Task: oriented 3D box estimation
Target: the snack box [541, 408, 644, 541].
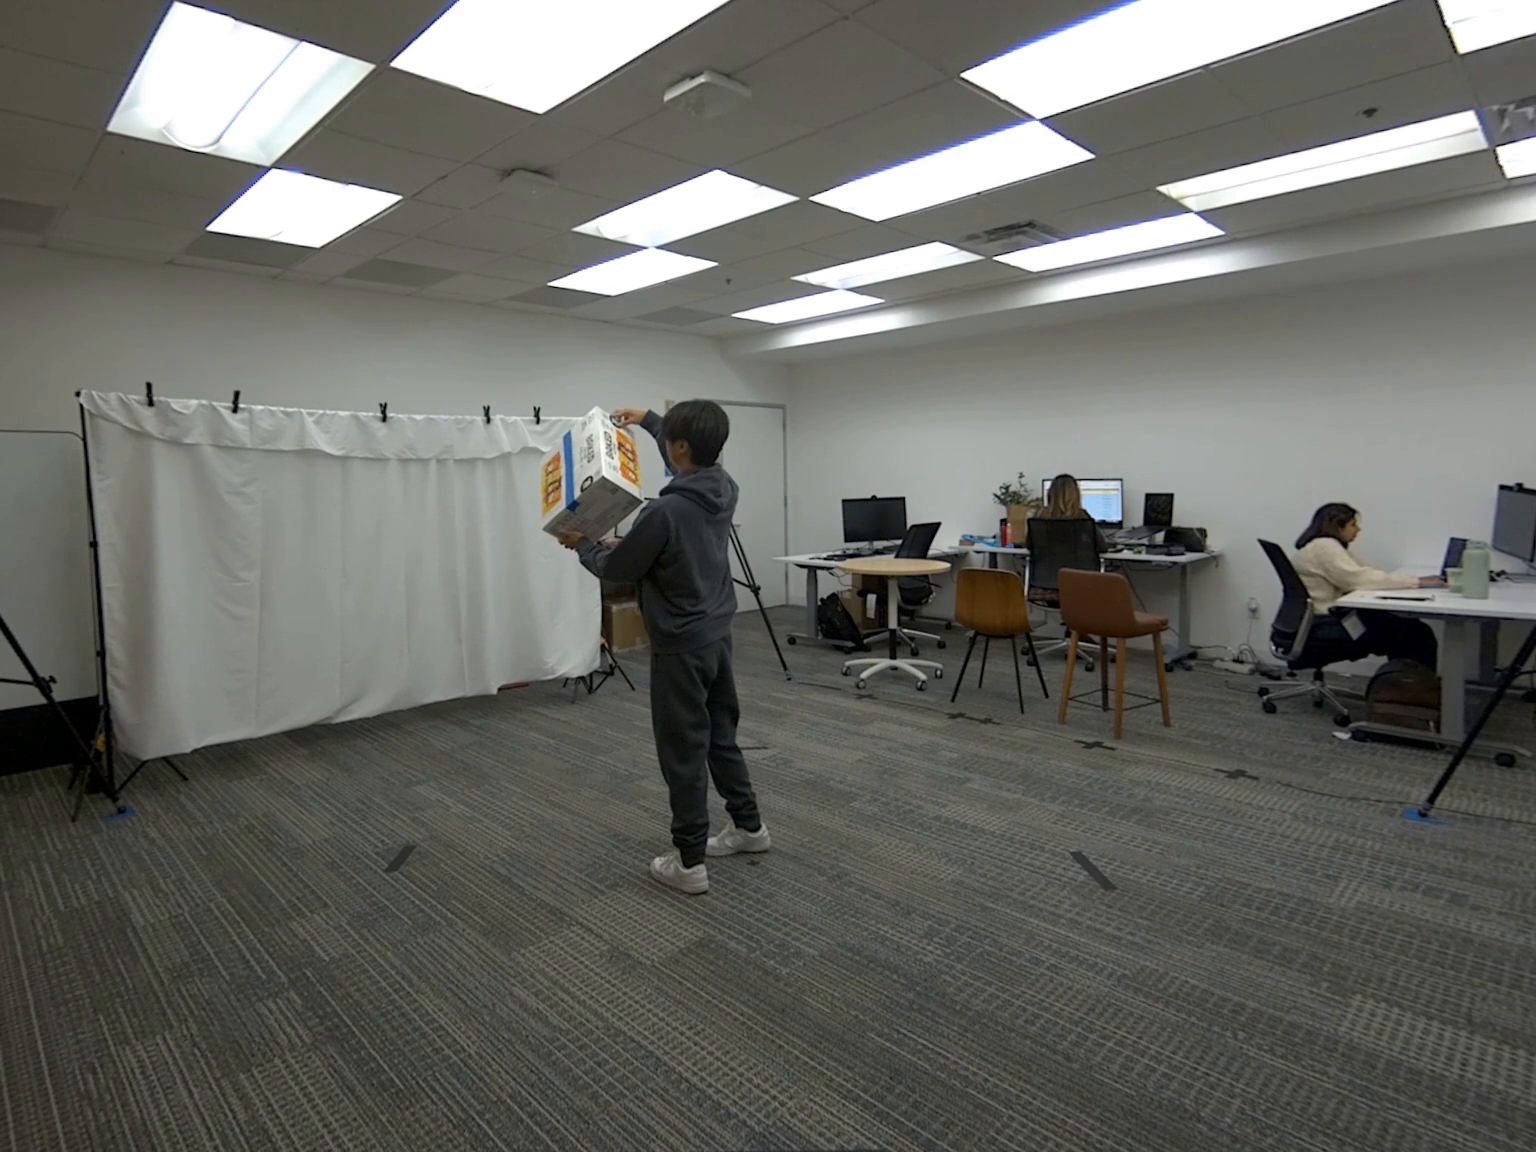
[{"bbox_3d":[-0.670,-0.367,3.233,0.342,0.419,0.198,-37,-47,24],"label":"snack box"}]
